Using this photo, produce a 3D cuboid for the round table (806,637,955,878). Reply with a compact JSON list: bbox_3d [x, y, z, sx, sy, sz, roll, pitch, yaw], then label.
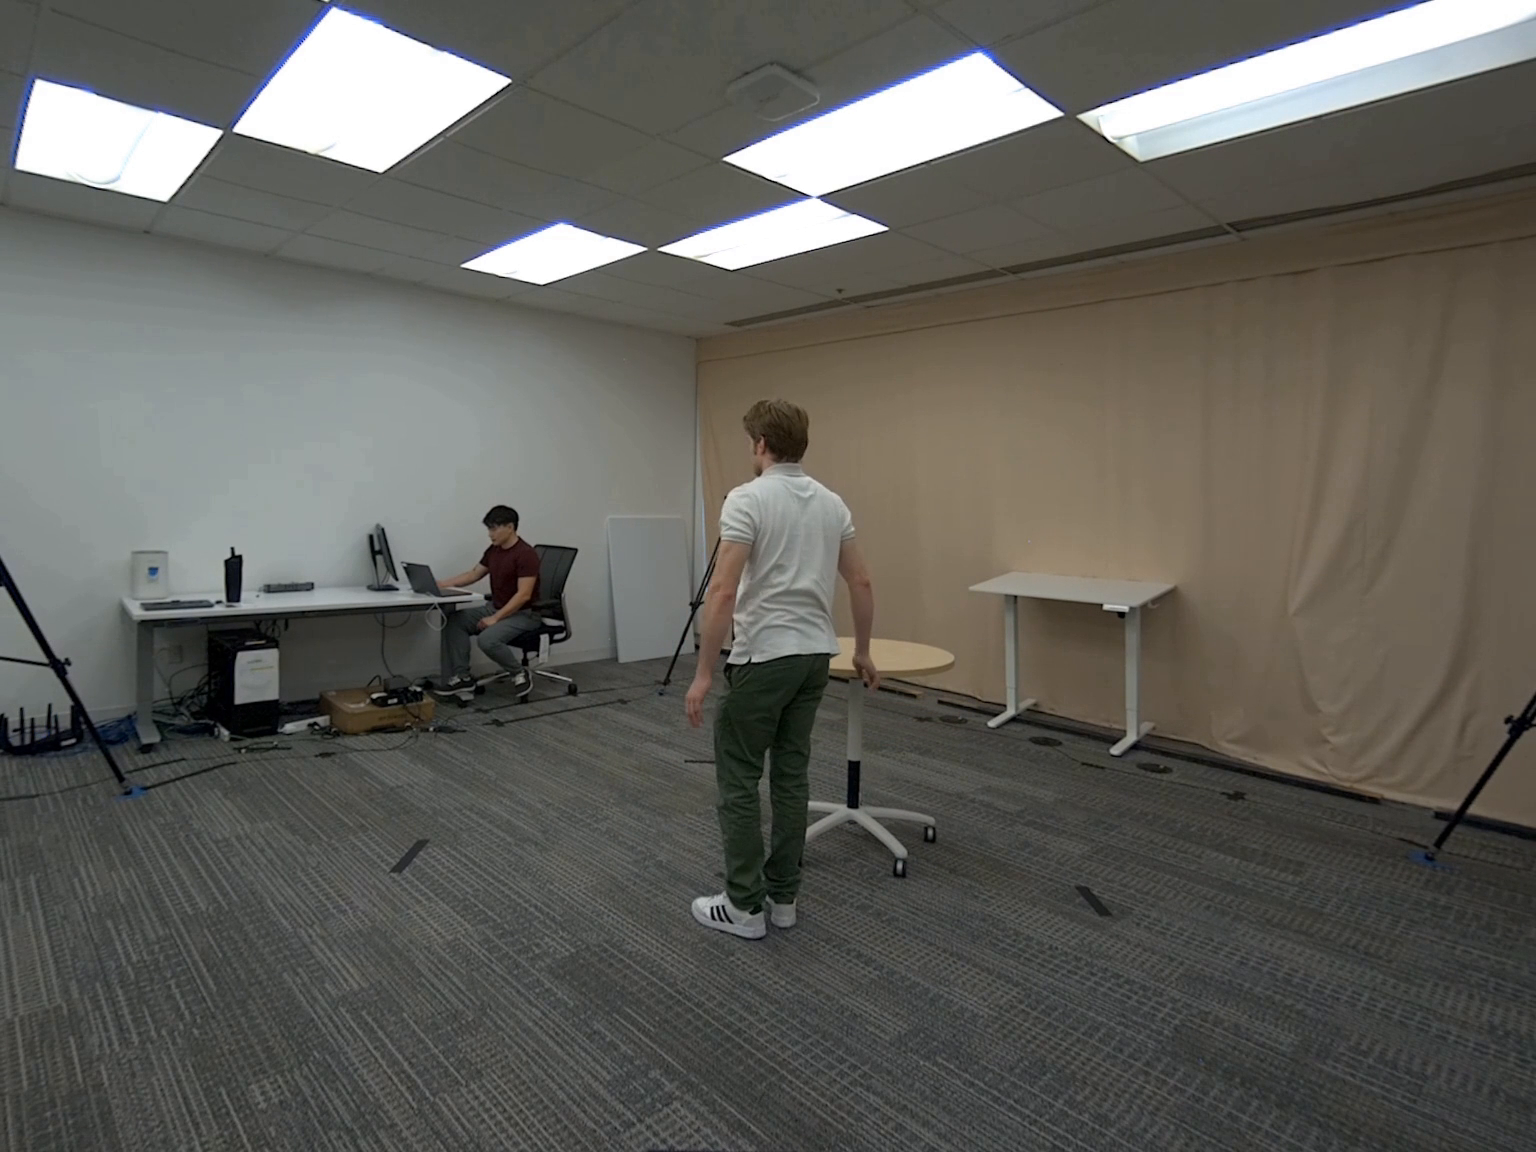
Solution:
[{"bbox_3d":[0.347,0.702,3.432,0.763,0.792,0.766,1,3,-1],"label":"round table"}]
